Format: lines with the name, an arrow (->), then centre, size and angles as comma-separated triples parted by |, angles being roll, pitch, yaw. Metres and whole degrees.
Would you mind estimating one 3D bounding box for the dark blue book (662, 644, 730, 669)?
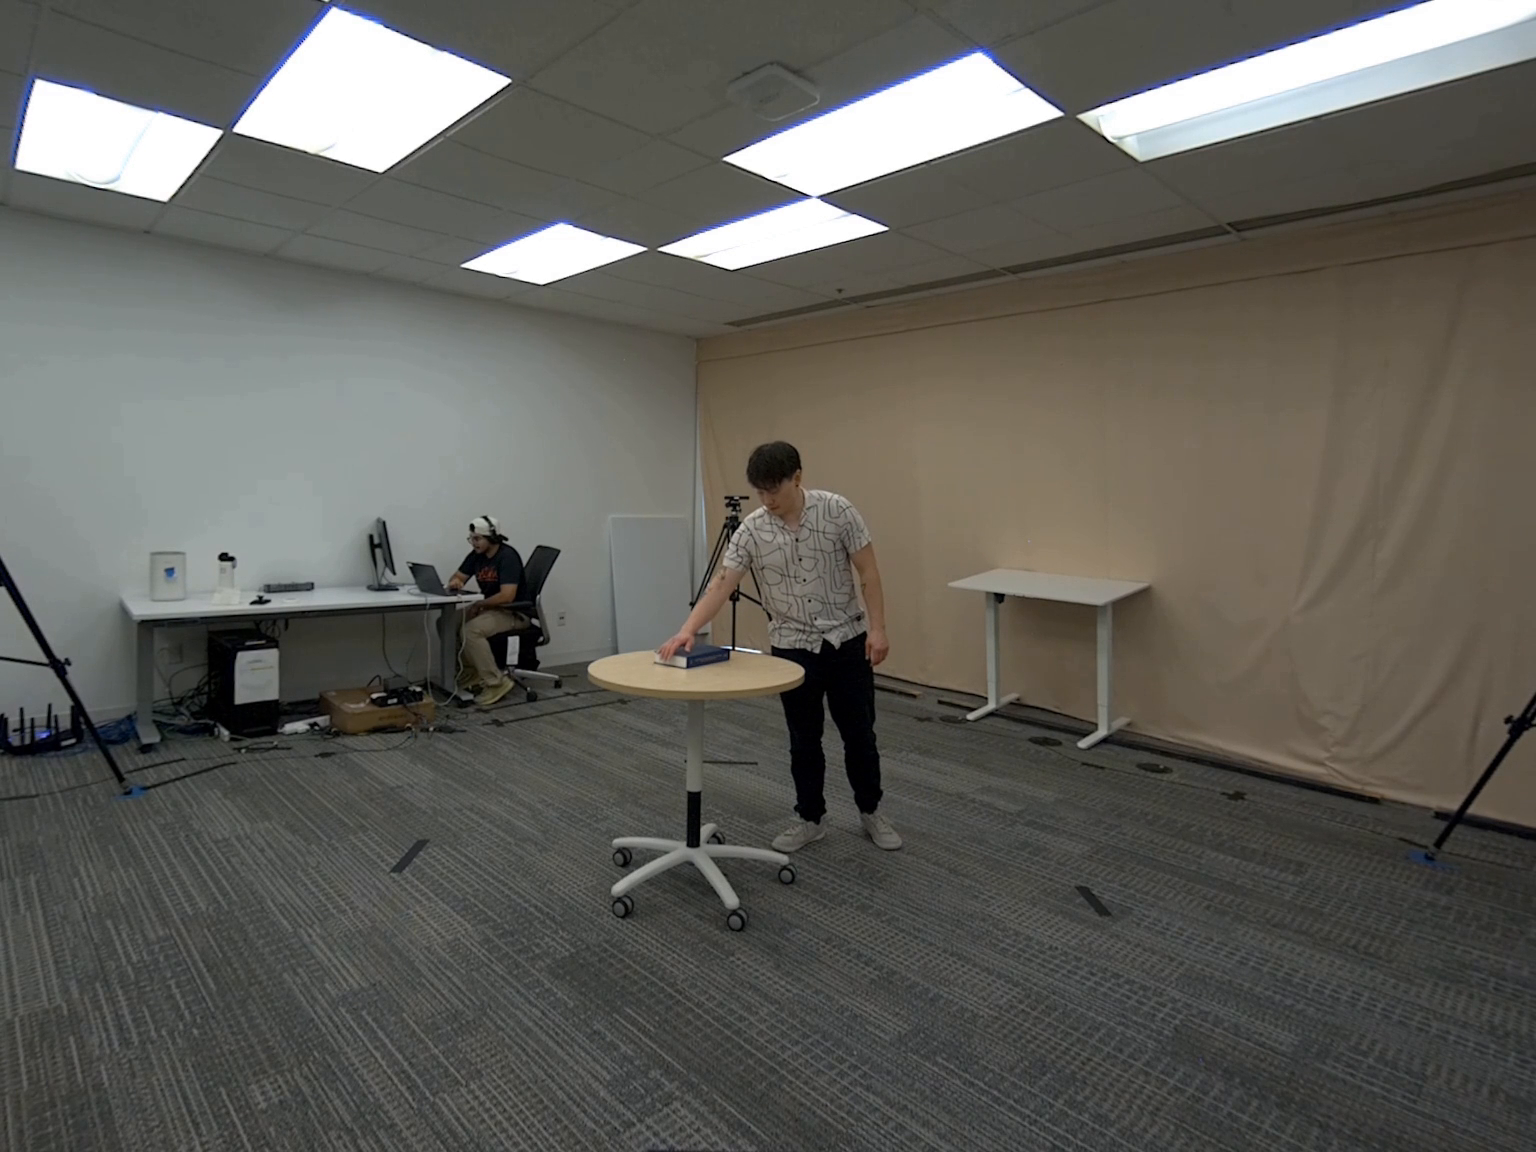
dark blue book -> -0.288, 0.295, 3.104 | 0.167, 0.045, 0.240 | 5, 7, 37
